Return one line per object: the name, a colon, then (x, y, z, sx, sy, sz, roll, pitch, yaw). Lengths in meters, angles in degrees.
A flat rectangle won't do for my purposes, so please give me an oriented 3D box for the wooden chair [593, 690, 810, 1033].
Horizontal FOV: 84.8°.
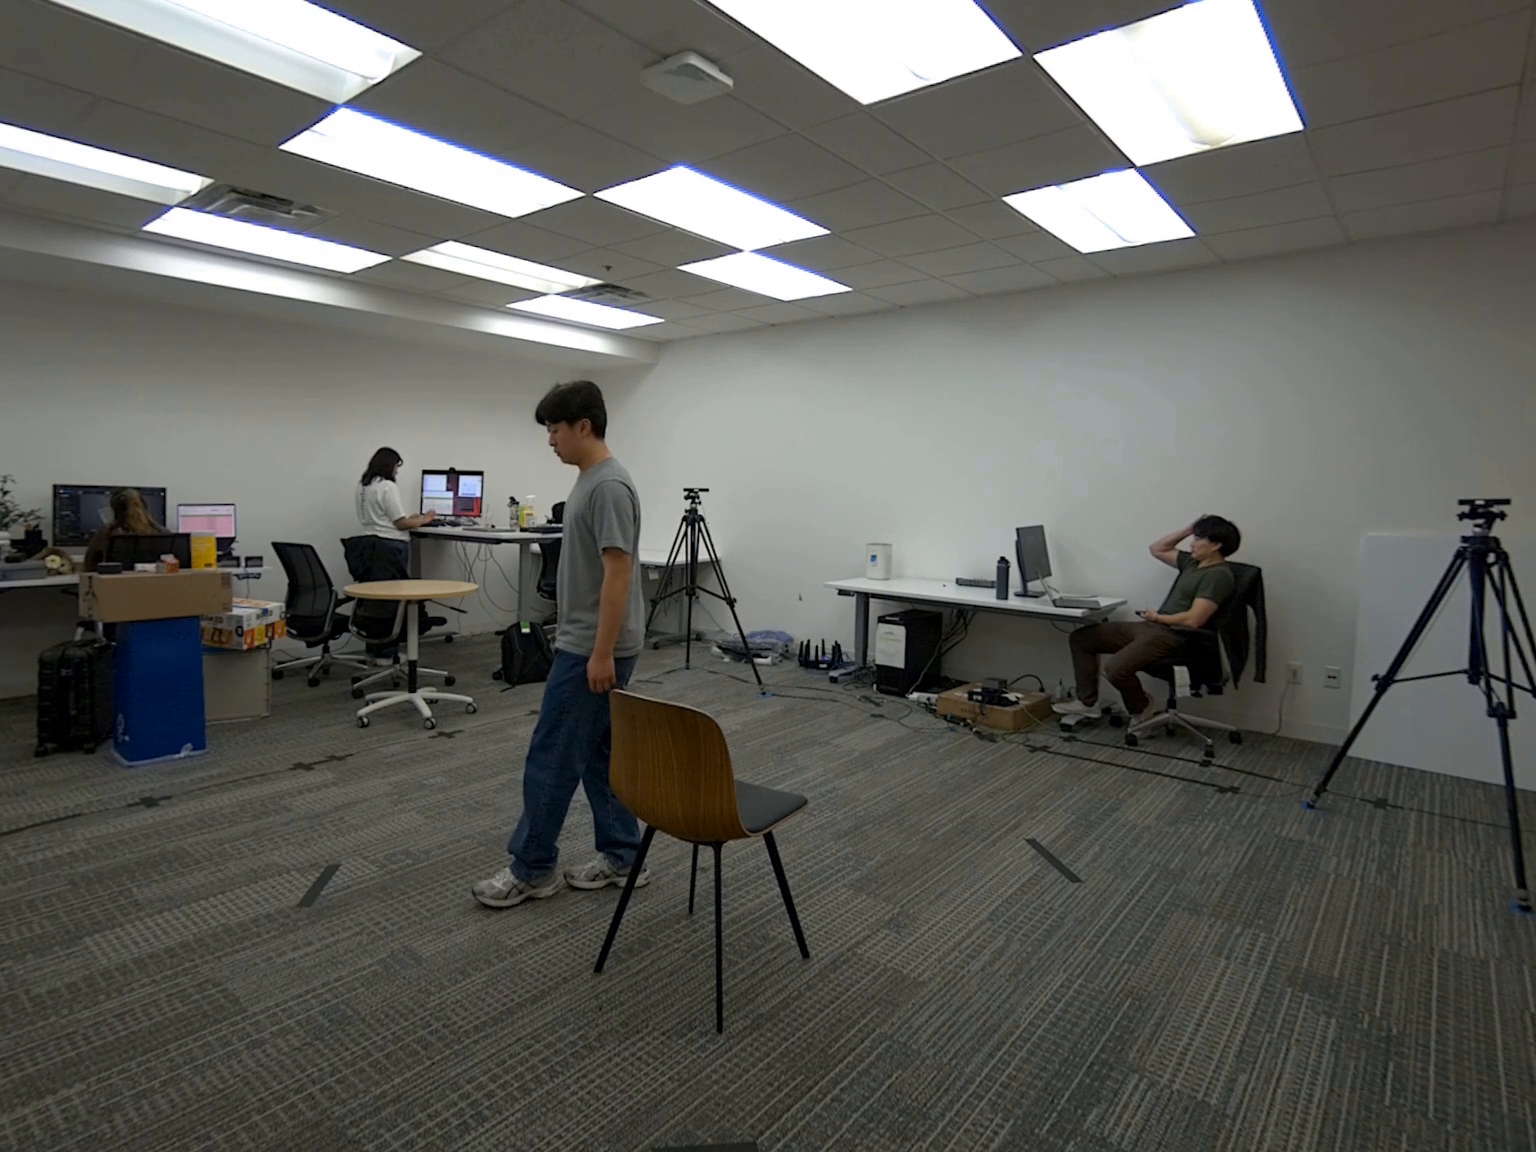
wooden chair: (-0.184, 0.707, 2.460, 0.493, 0.871, 0.510, 3, 9, 34)
